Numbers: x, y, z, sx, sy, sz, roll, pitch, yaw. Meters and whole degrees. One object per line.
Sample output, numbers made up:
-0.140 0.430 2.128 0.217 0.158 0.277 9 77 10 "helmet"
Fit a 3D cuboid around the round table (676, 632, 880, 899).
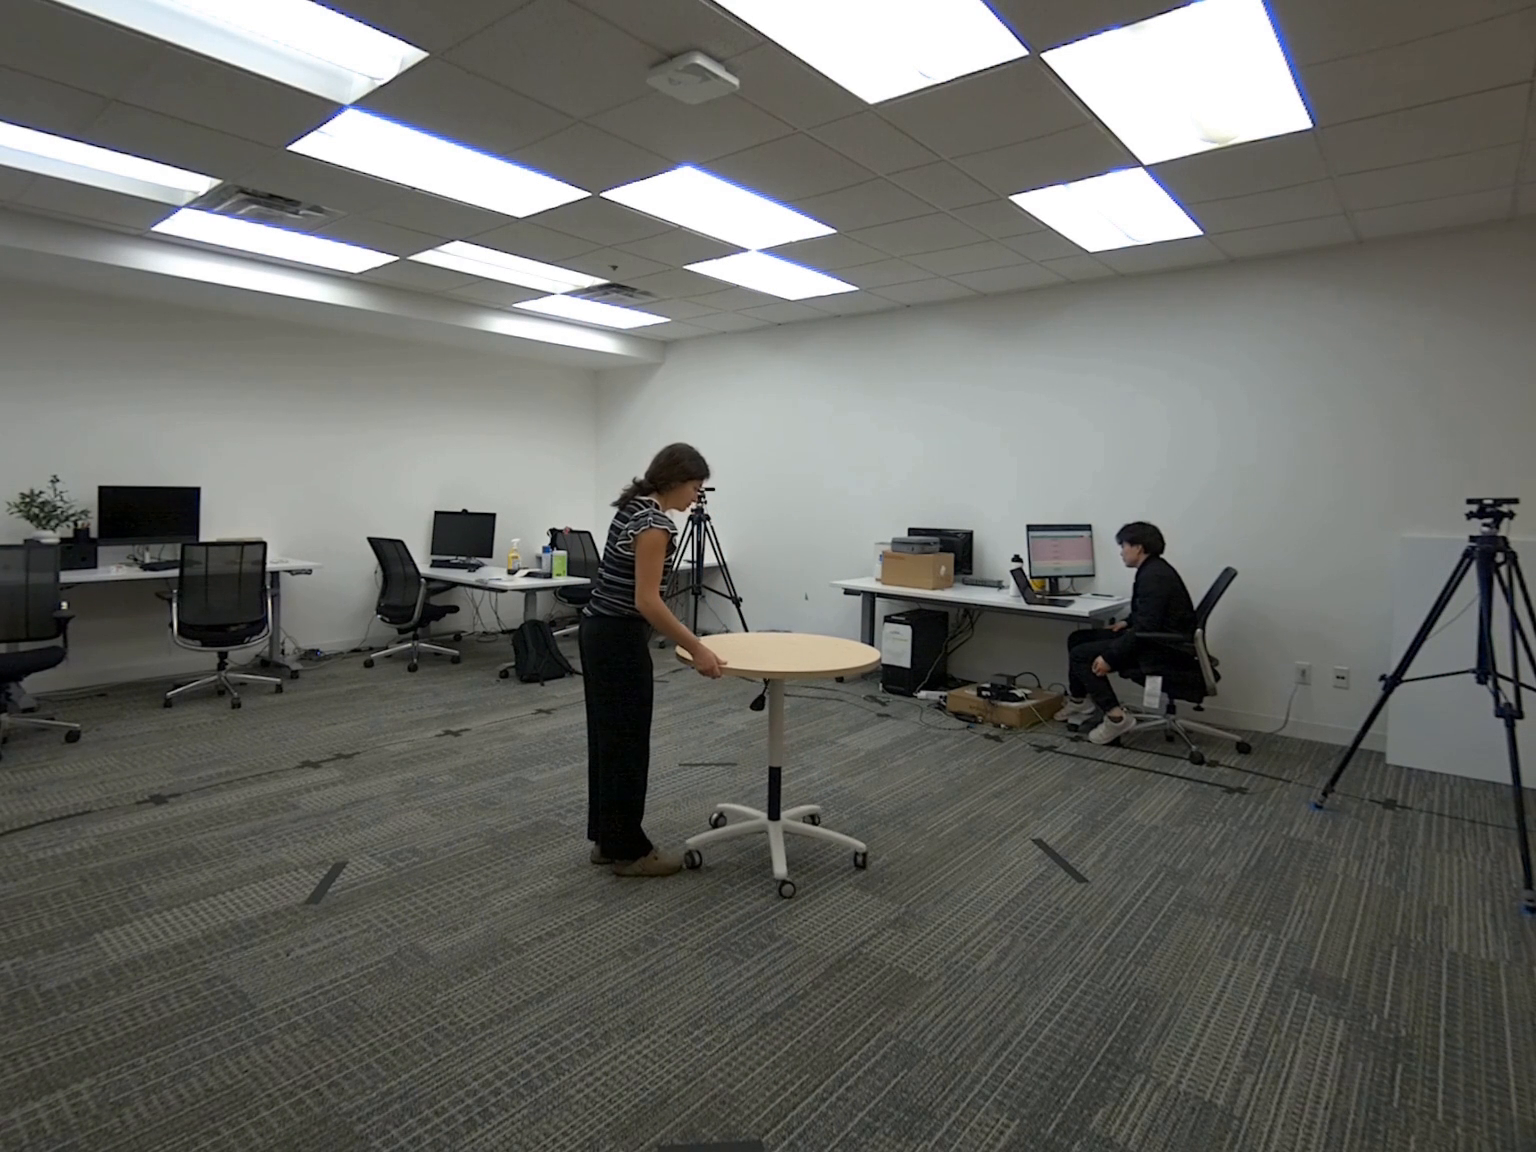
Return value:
0.015 0.667 3.232 0.784 0.783 0.789 1 5 -2 "round table"
